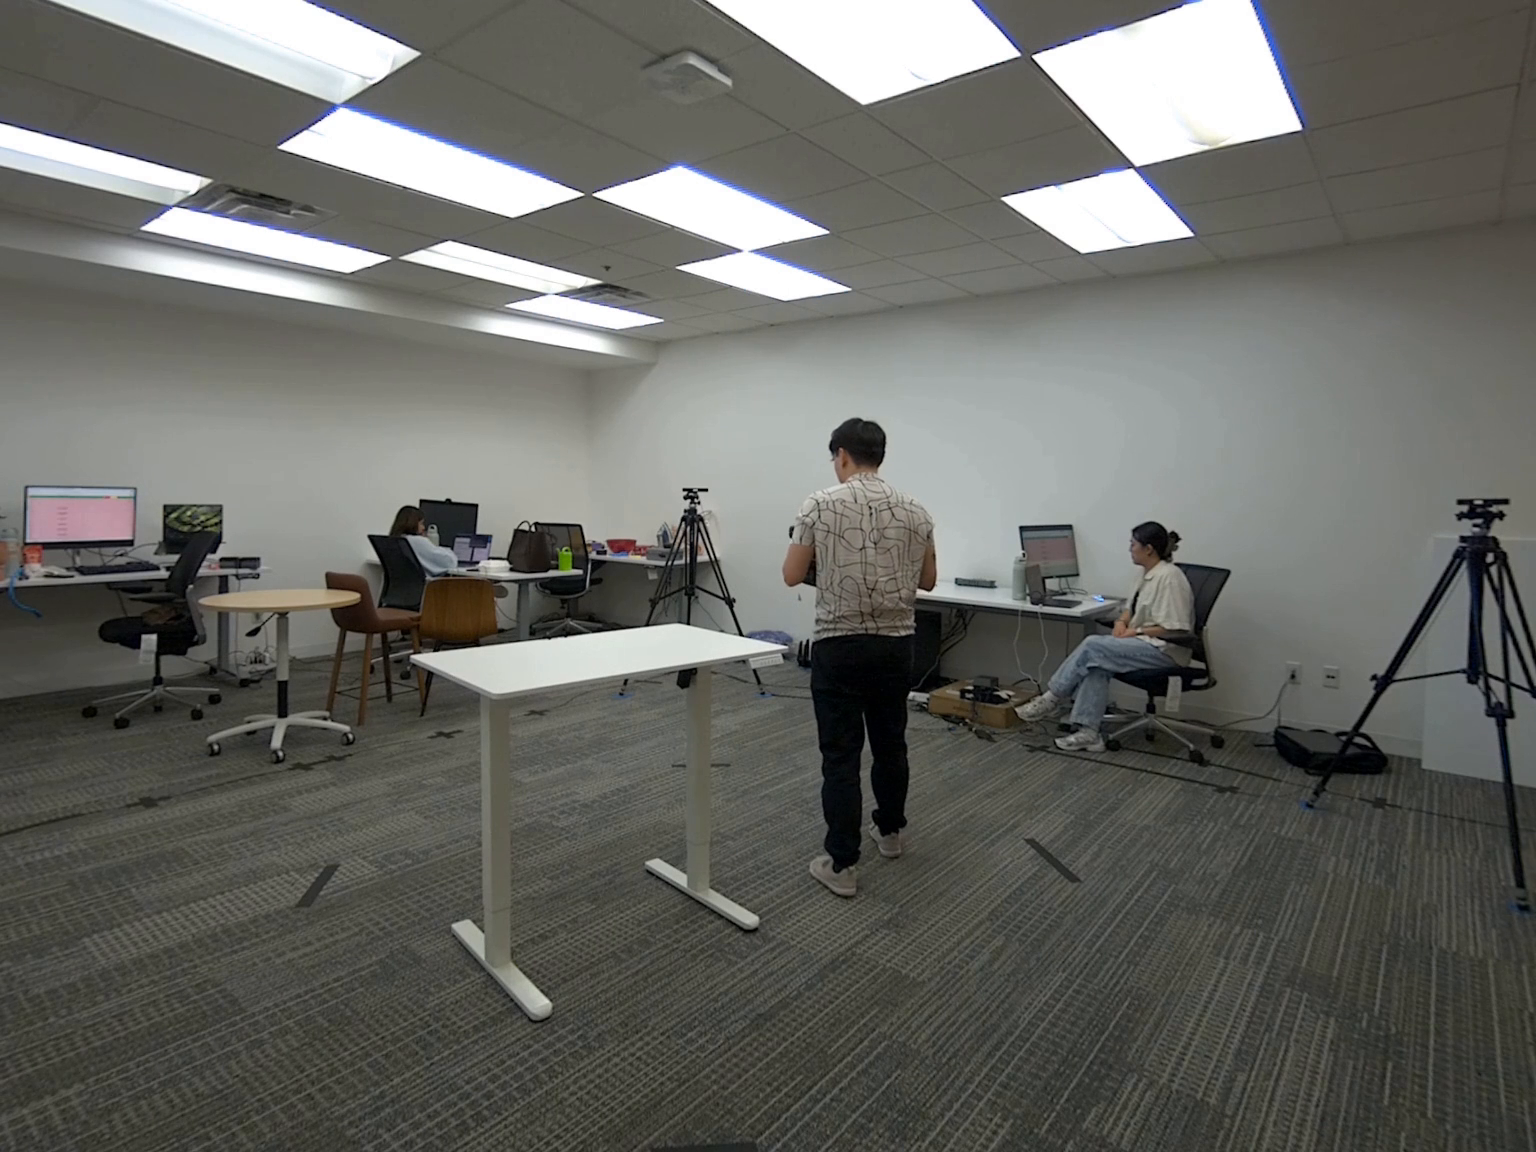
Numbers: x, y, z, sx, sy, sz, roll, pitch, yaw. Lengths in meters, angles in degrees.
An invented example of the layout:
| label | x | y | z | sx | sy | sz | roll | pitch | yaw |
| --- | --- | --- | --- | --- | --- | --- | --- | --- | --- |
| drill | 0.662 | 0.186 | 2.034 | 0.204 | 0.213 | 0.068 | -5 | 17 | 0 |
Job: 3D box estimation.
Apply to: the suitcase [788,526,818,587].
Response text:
| label | x | y | z | sx | sy | sz | roll | pitch | yaw |
| --- | --- | --- | --- | --- | --- | --- | --- | --- | --- |
| suitcase | 0.305 | -0.085 | 3.506 | 0.371 | 0.248 | 0.557 | 2 | 2 | -12 |
